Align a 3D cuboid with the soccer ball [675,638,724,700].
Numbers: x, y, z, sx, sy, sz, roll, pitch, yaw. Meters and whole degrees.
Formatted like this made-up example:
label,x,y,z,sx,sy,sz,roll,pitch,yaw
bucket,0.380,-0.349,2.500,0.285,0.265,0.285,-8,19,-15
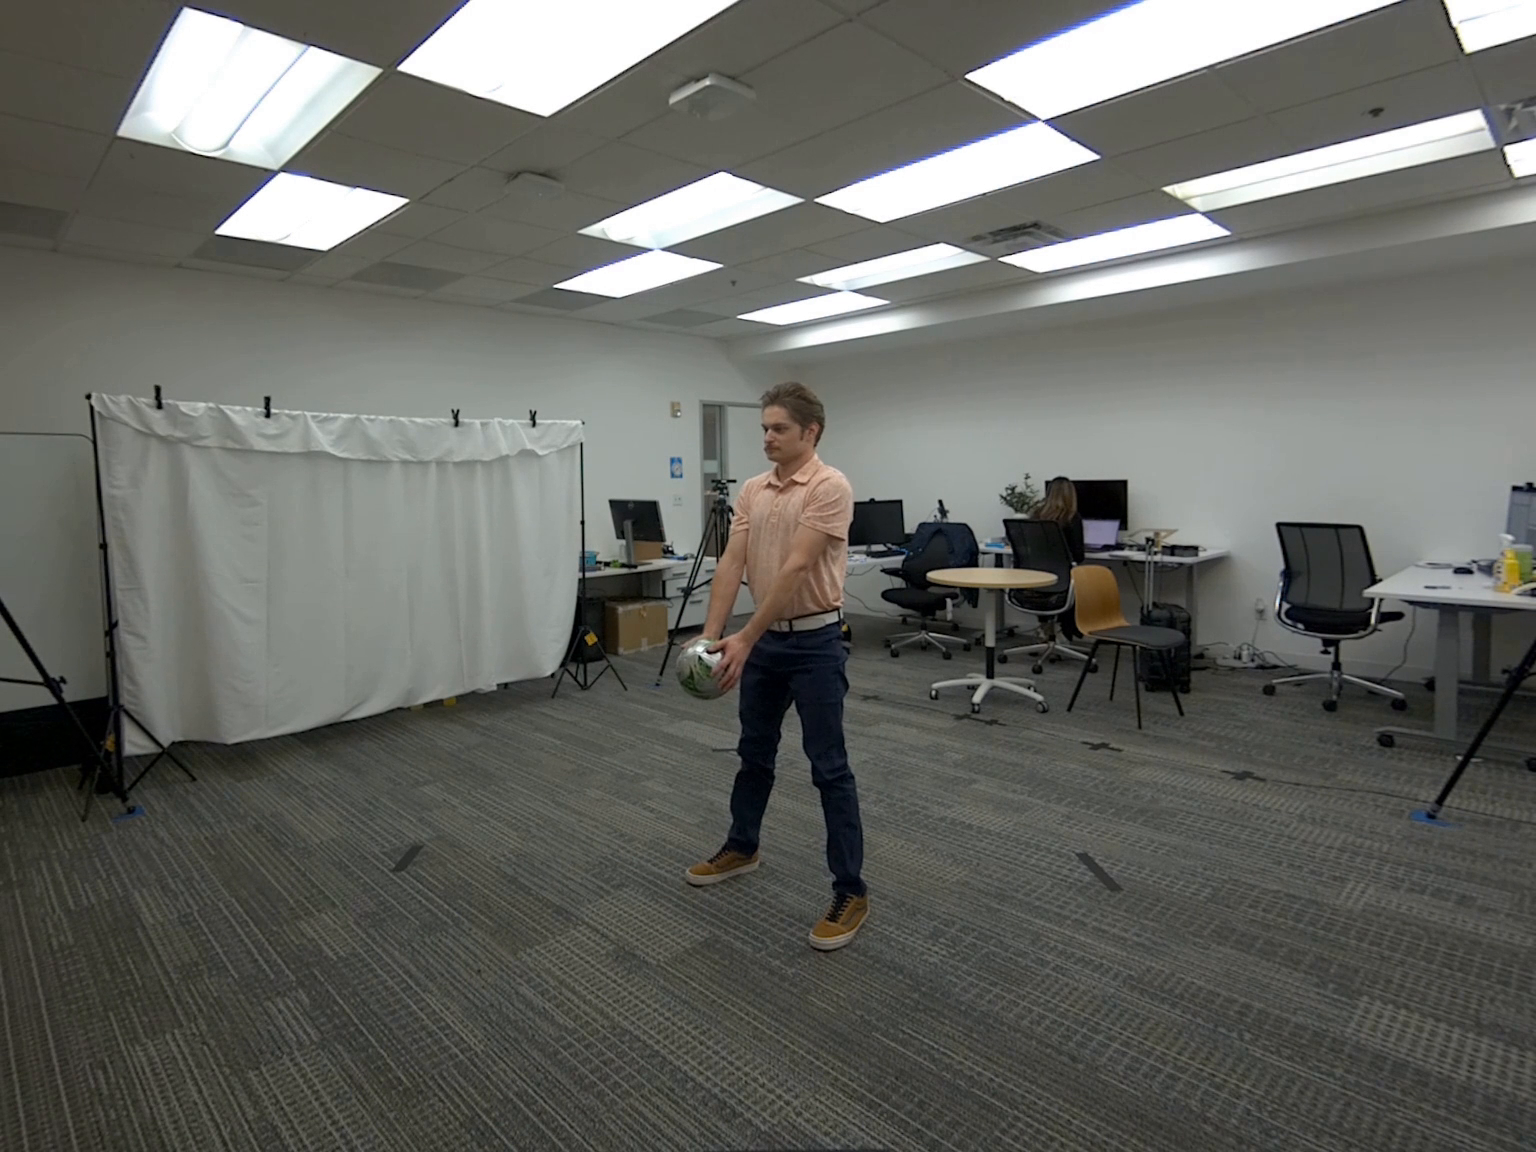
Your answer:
label,x,y,z,sx,sy,sz,roll,pitch,yaw
soccer ball,-0.189,0.286,2.586,0.187,0.187,0.188,-1,5,-2
